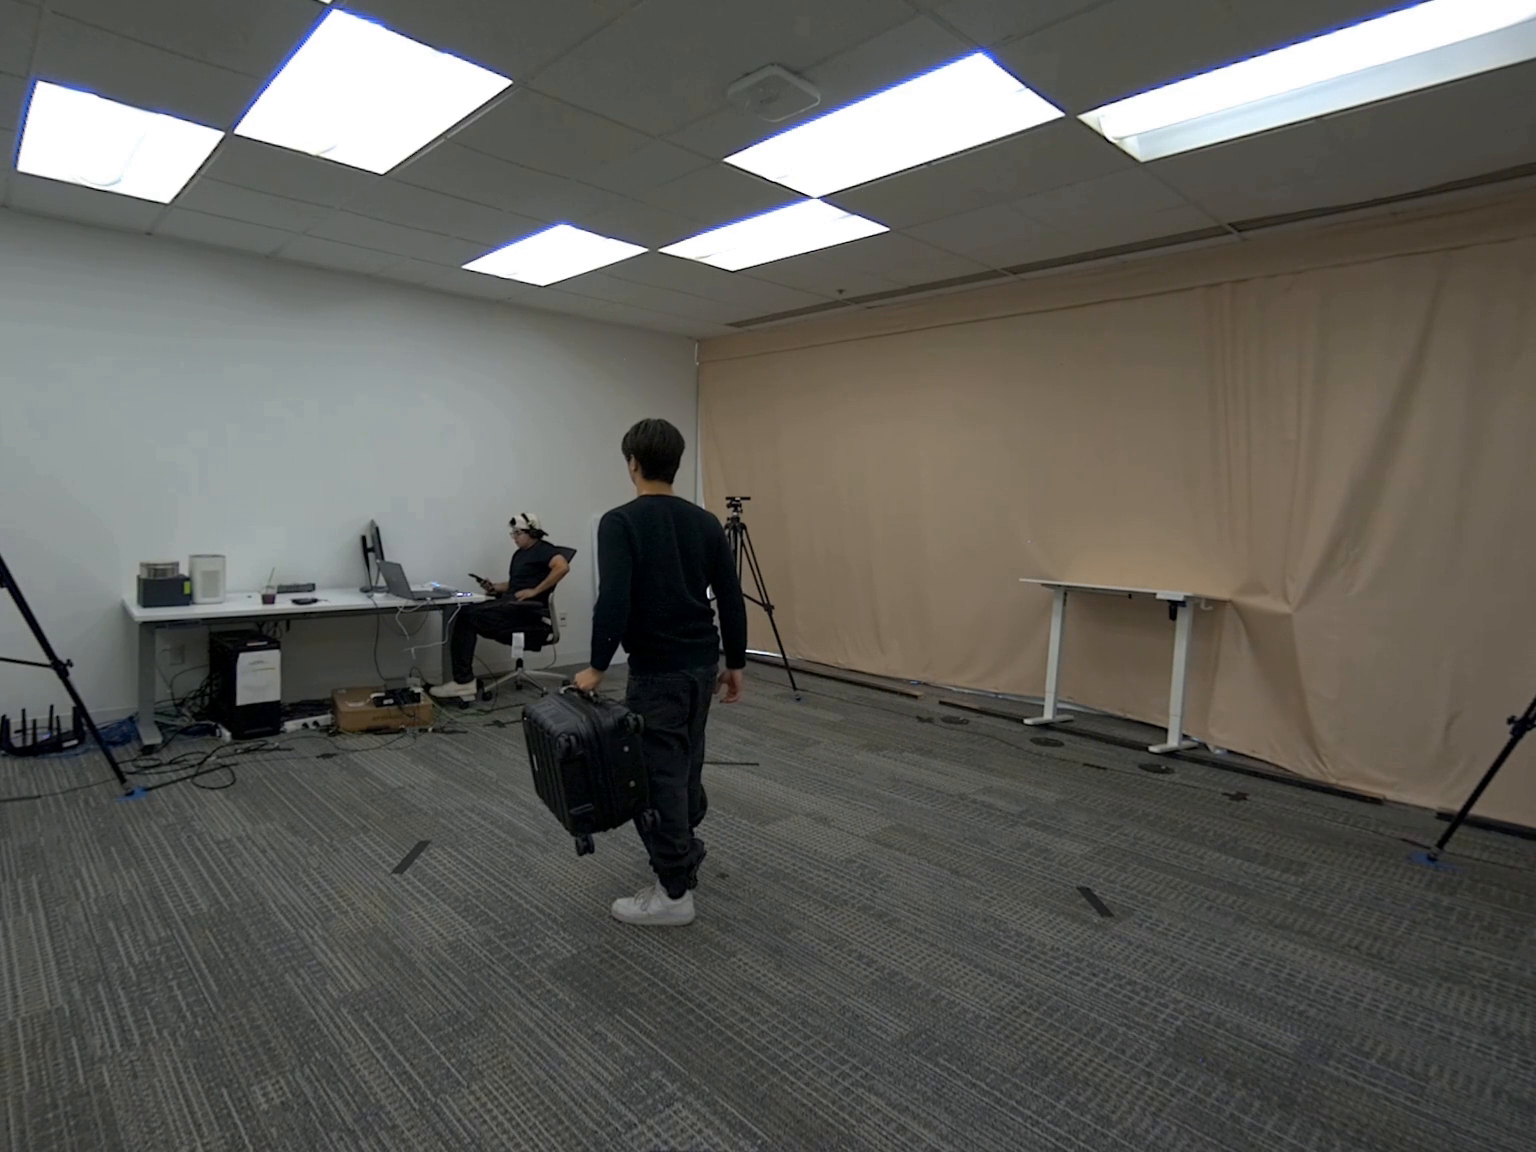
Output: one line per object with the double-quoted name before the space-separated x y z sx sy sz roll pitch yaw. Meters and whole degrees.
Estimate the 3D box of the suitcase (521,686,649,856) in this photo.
"suitcase" -0.696 0.562 2.827 0.253 0.382 0.999 -11 7 -29
